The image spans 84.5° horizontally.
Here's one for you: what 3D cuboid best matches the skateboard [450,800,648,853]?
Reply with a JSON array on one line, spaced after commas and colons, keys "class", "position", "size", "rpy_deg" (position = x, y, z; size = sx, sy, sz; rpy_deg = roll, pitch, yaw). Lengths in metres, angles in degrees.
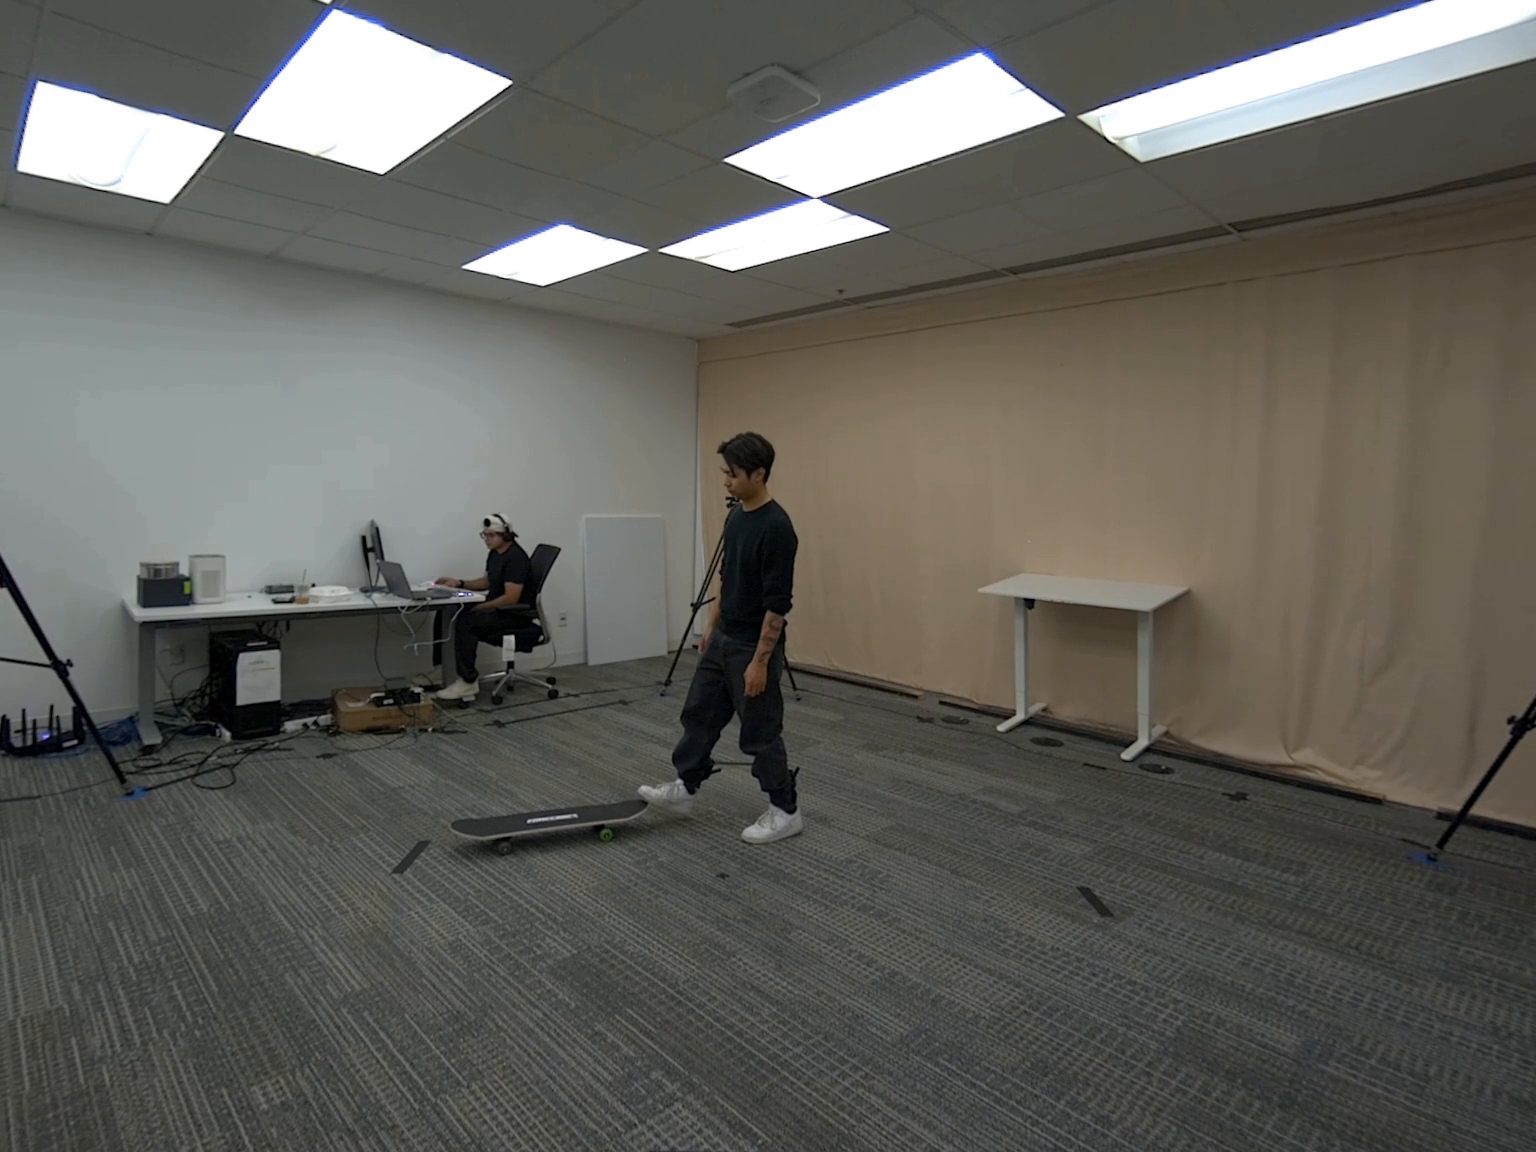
[{"class": "skateboard", "position": [-0.868, 1.009, 3.387], "size": [0.772, 0.110, 0.197], "rpy_deg": [-1, 5, -23]}]
